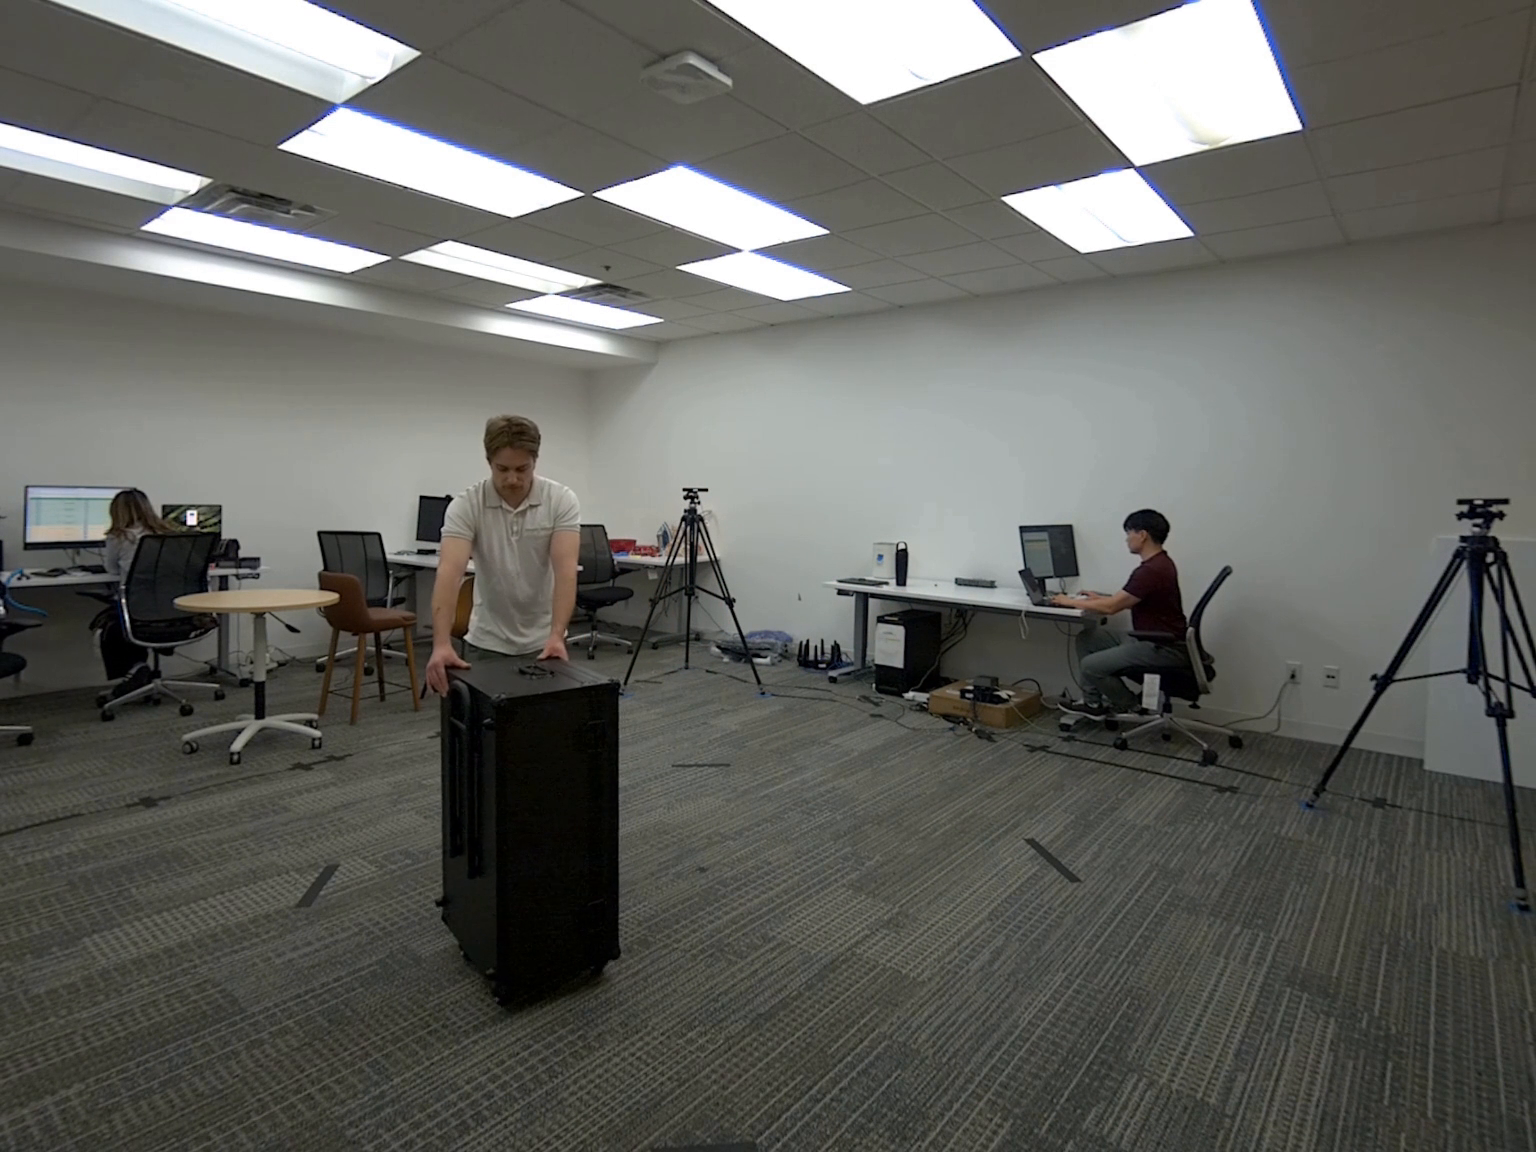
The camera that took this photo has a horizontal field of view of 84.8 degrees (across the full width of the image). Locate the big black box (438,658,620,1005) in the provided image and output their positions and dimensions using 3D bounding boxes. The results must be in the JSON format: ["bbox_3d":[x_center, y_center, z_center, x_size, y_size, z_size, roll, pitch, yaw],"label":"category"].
[{"bbox_3d":[-0.699,0.705,2.448,0.374,0.866,0.540,-2,4,-36],"label":"big black box"}]
